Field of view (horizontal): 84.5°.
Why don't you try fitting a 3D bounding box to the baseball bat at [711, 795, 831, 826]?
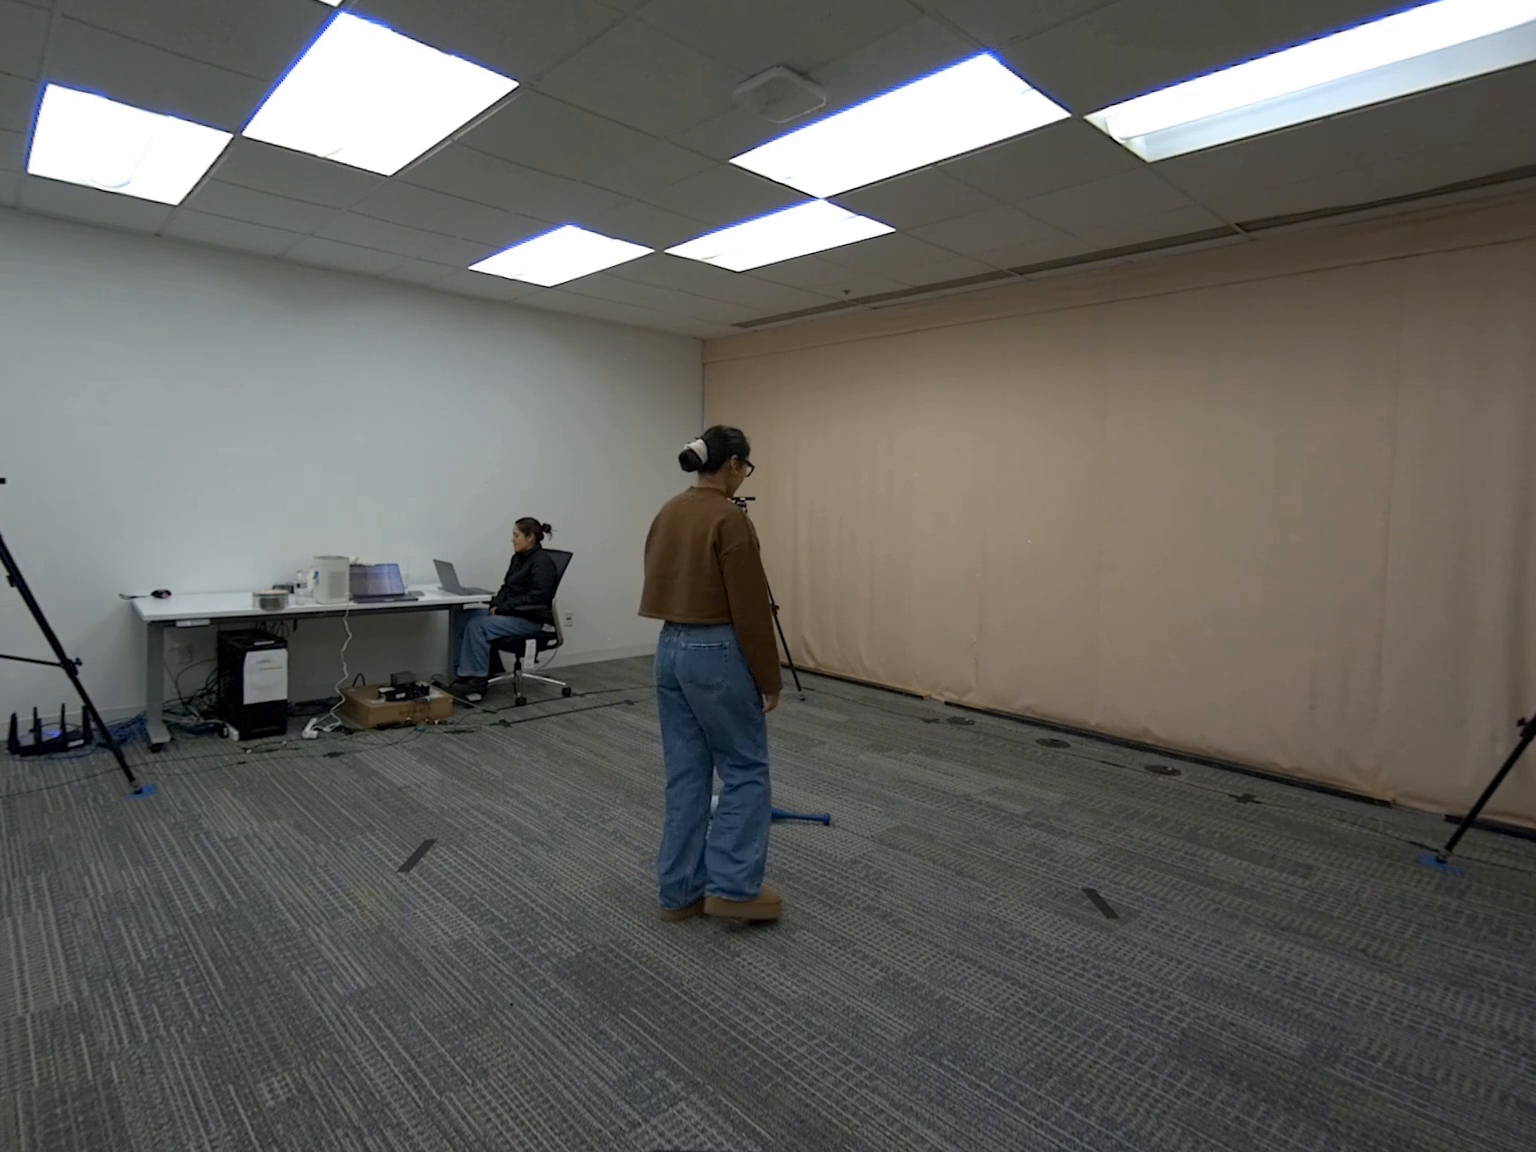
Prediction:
[{"bbox_3d":[-0.009,1.031,3.651,0.546,0.089,0.089,5,4,6],"label":"baseball bat"}]
